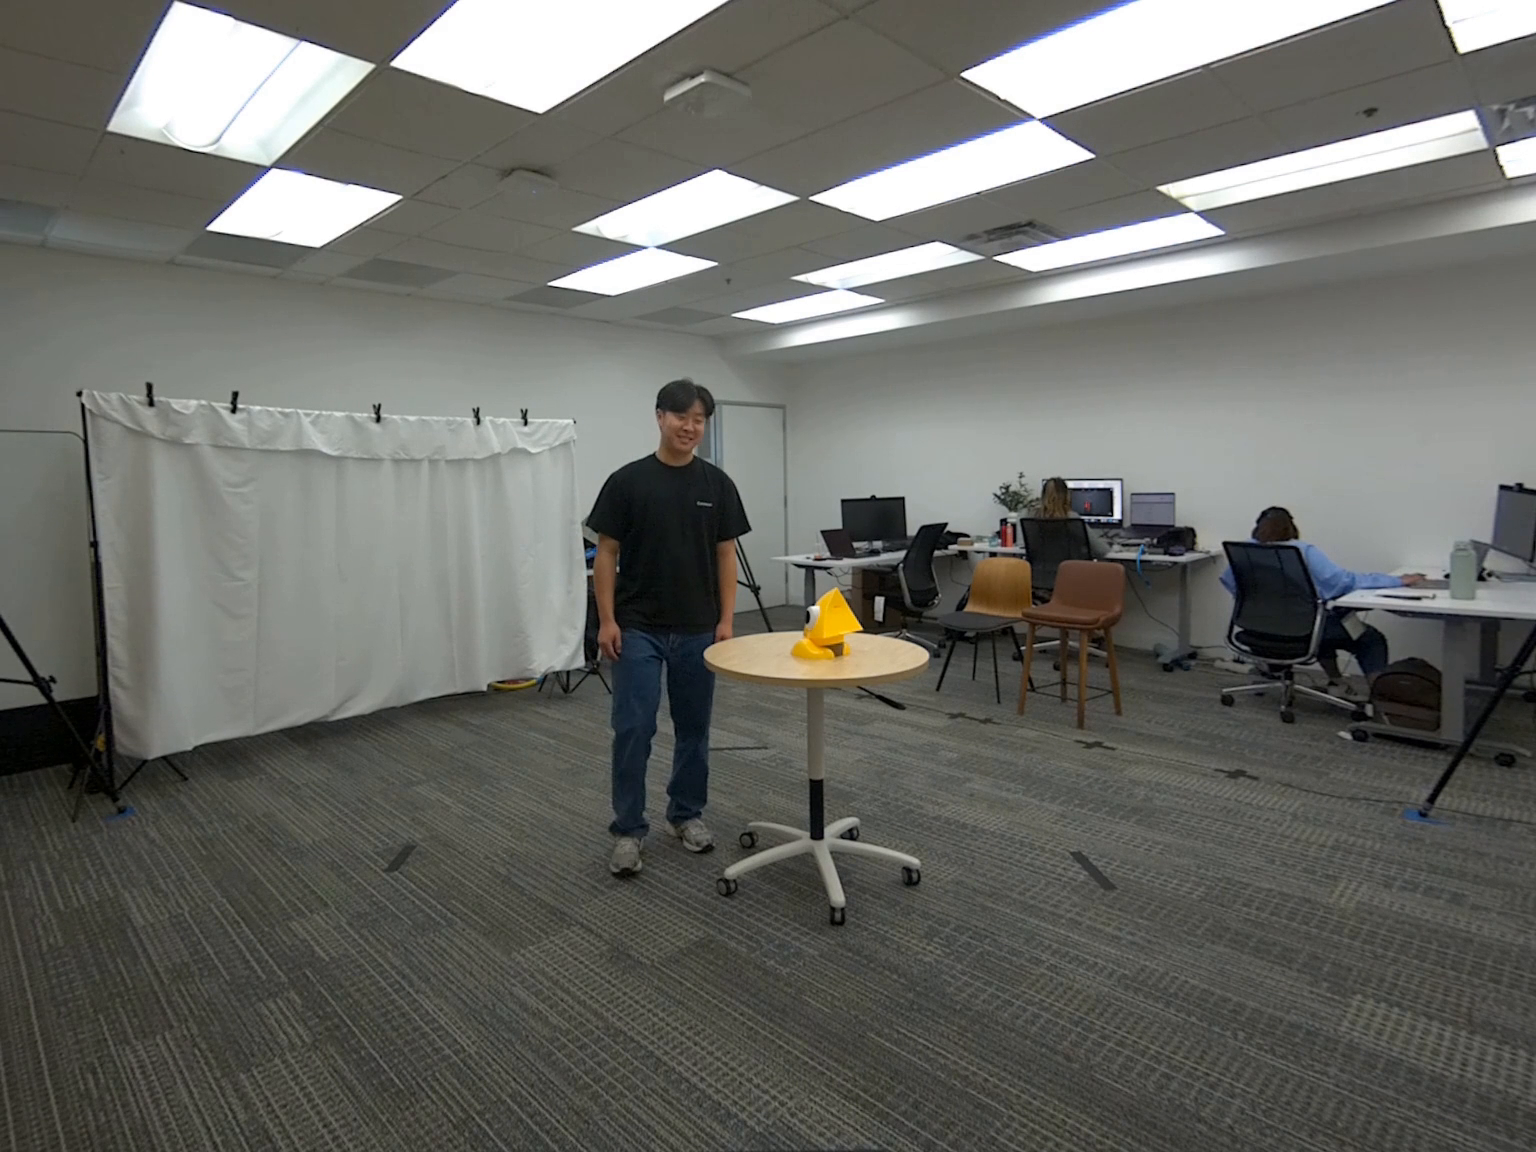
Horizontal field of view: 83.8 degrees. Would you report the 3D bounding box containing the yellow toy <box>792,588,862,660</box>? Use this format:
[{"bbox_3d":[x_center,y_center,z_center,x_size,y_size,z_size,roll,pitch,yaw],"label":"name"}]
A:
[{"bbox_3d":[0.195,0.150,2.906,0.199,0.230,0.199,-6,7,-44],"label":"yellow toy"}]
